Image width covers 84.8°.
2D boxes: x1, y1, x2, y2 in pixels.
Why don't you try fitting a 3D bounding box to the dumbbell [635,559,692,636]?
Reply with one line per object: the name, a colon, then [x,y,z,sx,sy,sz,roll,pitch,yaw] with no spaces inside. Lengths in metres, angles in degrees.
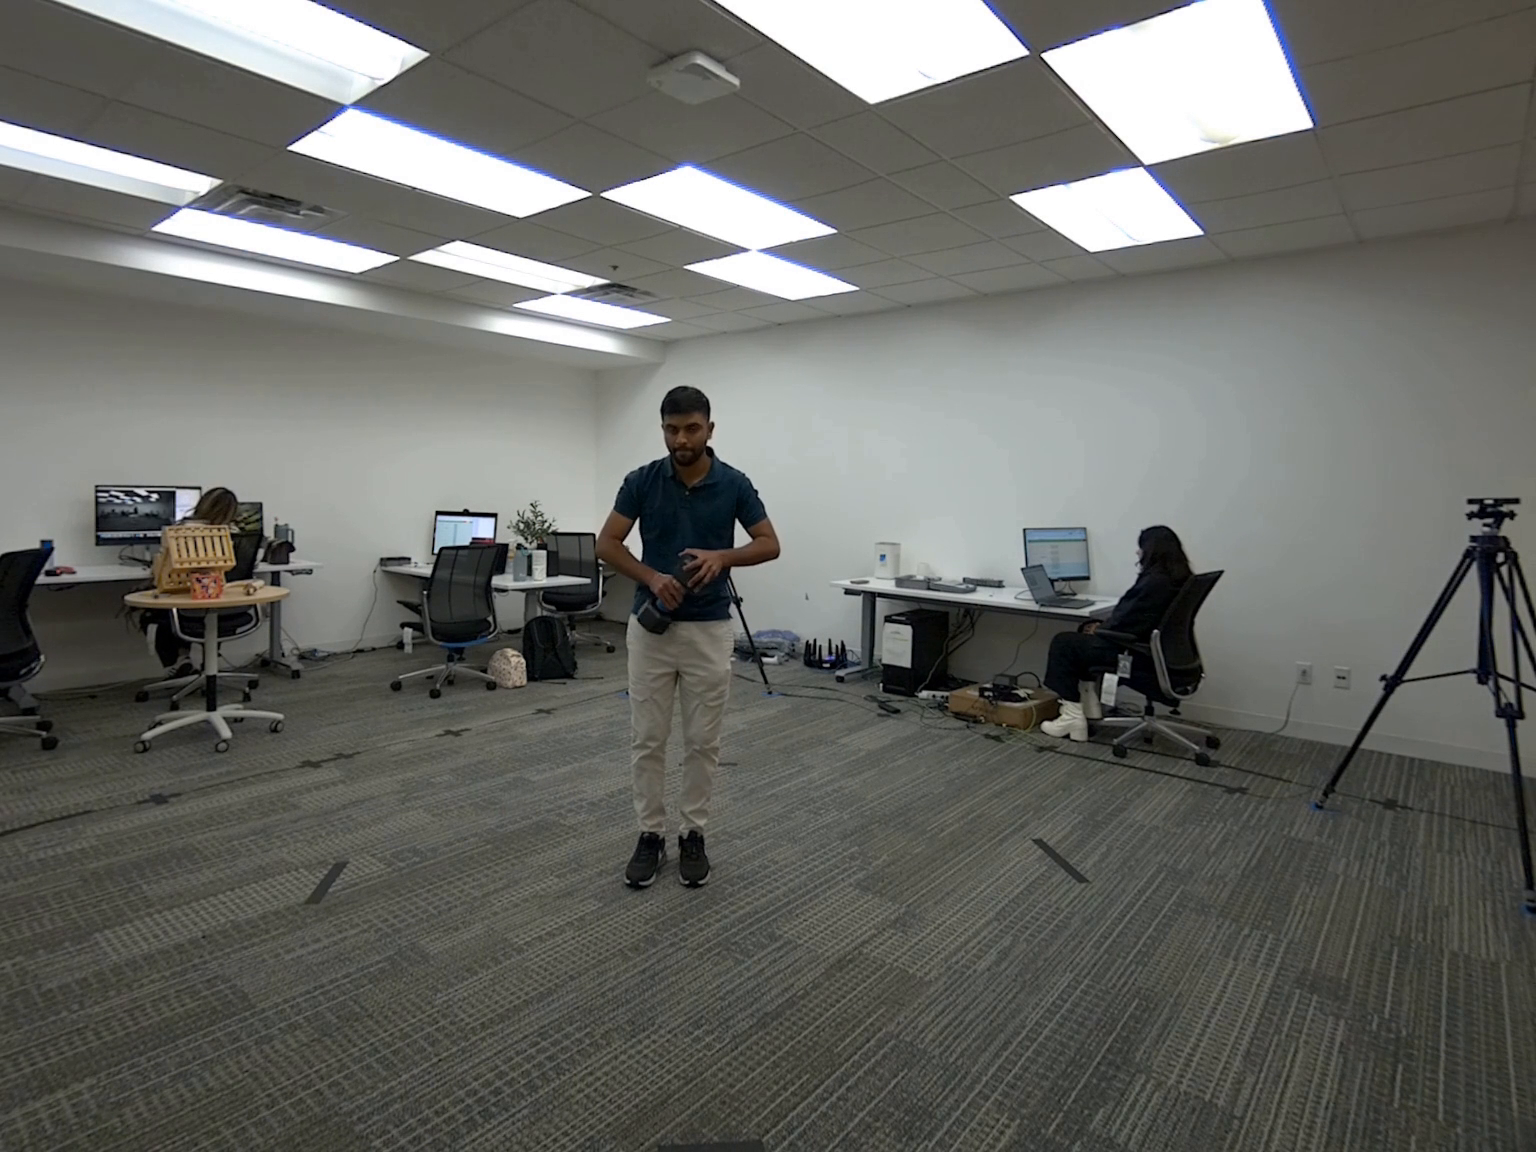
dumbbell: [-0.339,0.048,2.929,0.126,0.293,0.106,42,15,18]
